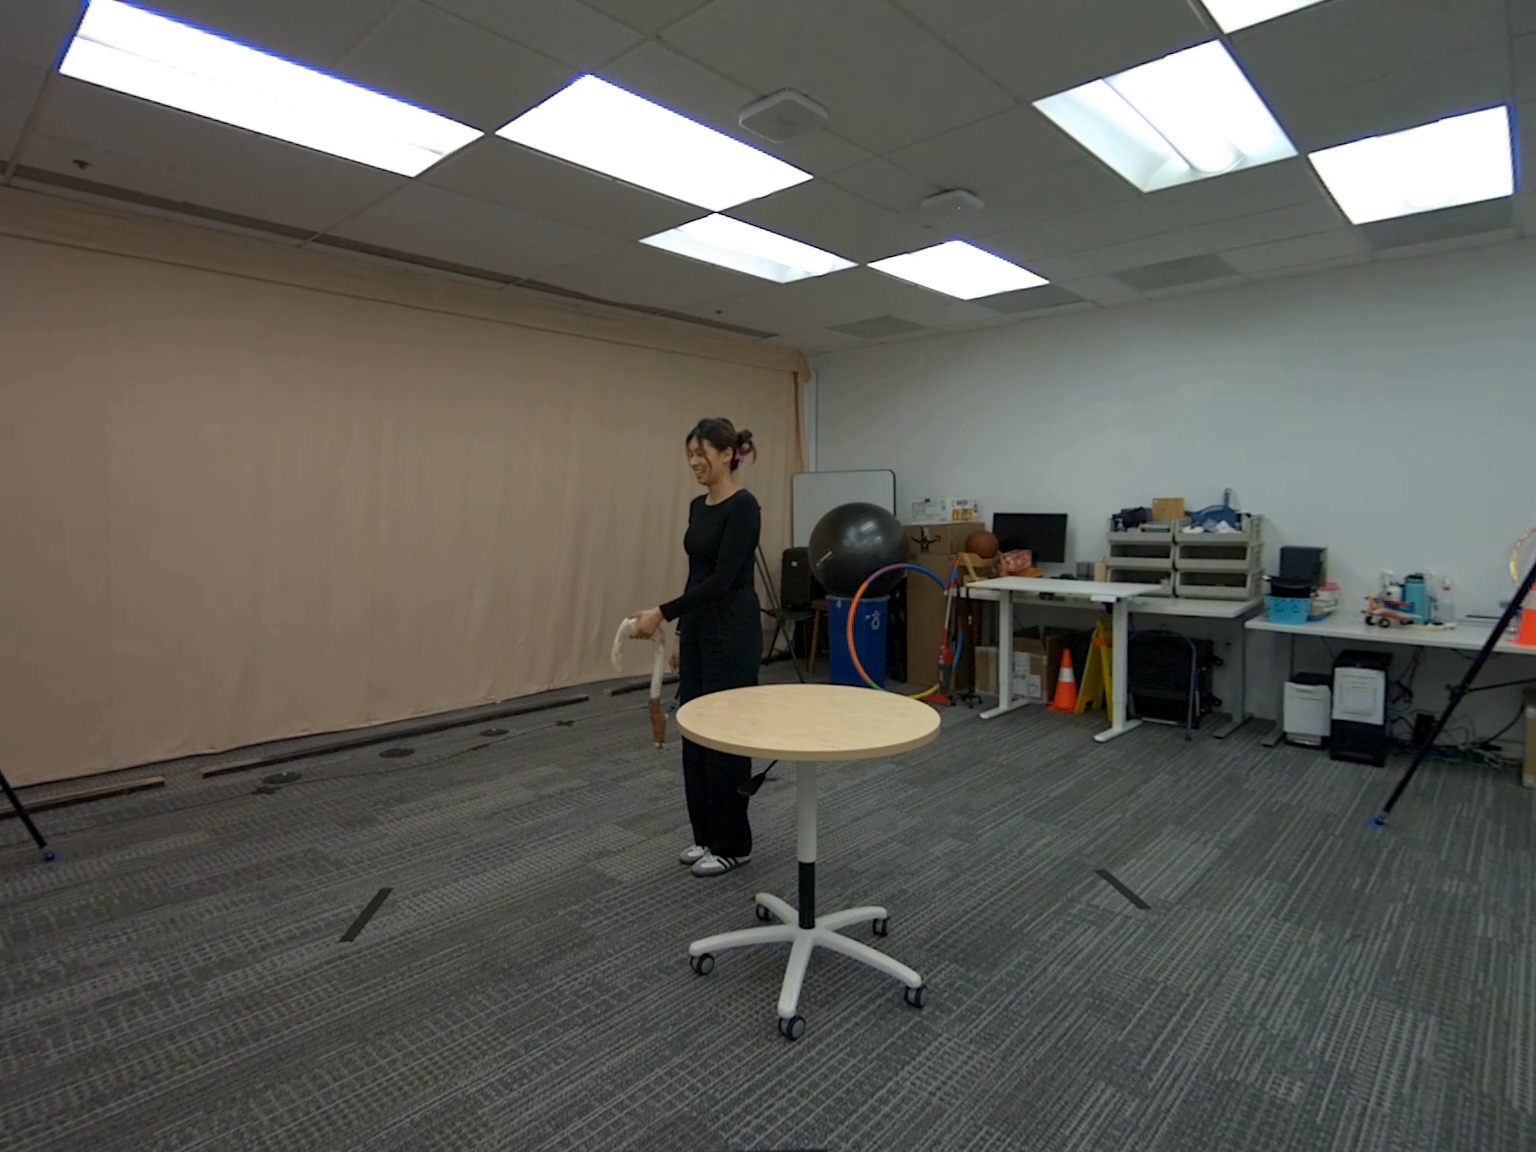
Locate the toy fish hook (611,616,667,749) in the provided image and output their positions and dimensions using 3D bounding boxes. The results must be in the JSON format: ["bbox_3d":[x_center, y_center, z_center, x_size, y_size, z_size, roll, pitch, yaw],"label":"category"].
[{"bbox_3d":[-0.479,0.376,3.066,0.219,0.504,0.050,-7,7,-27],"label":"toy fish hook"}]
